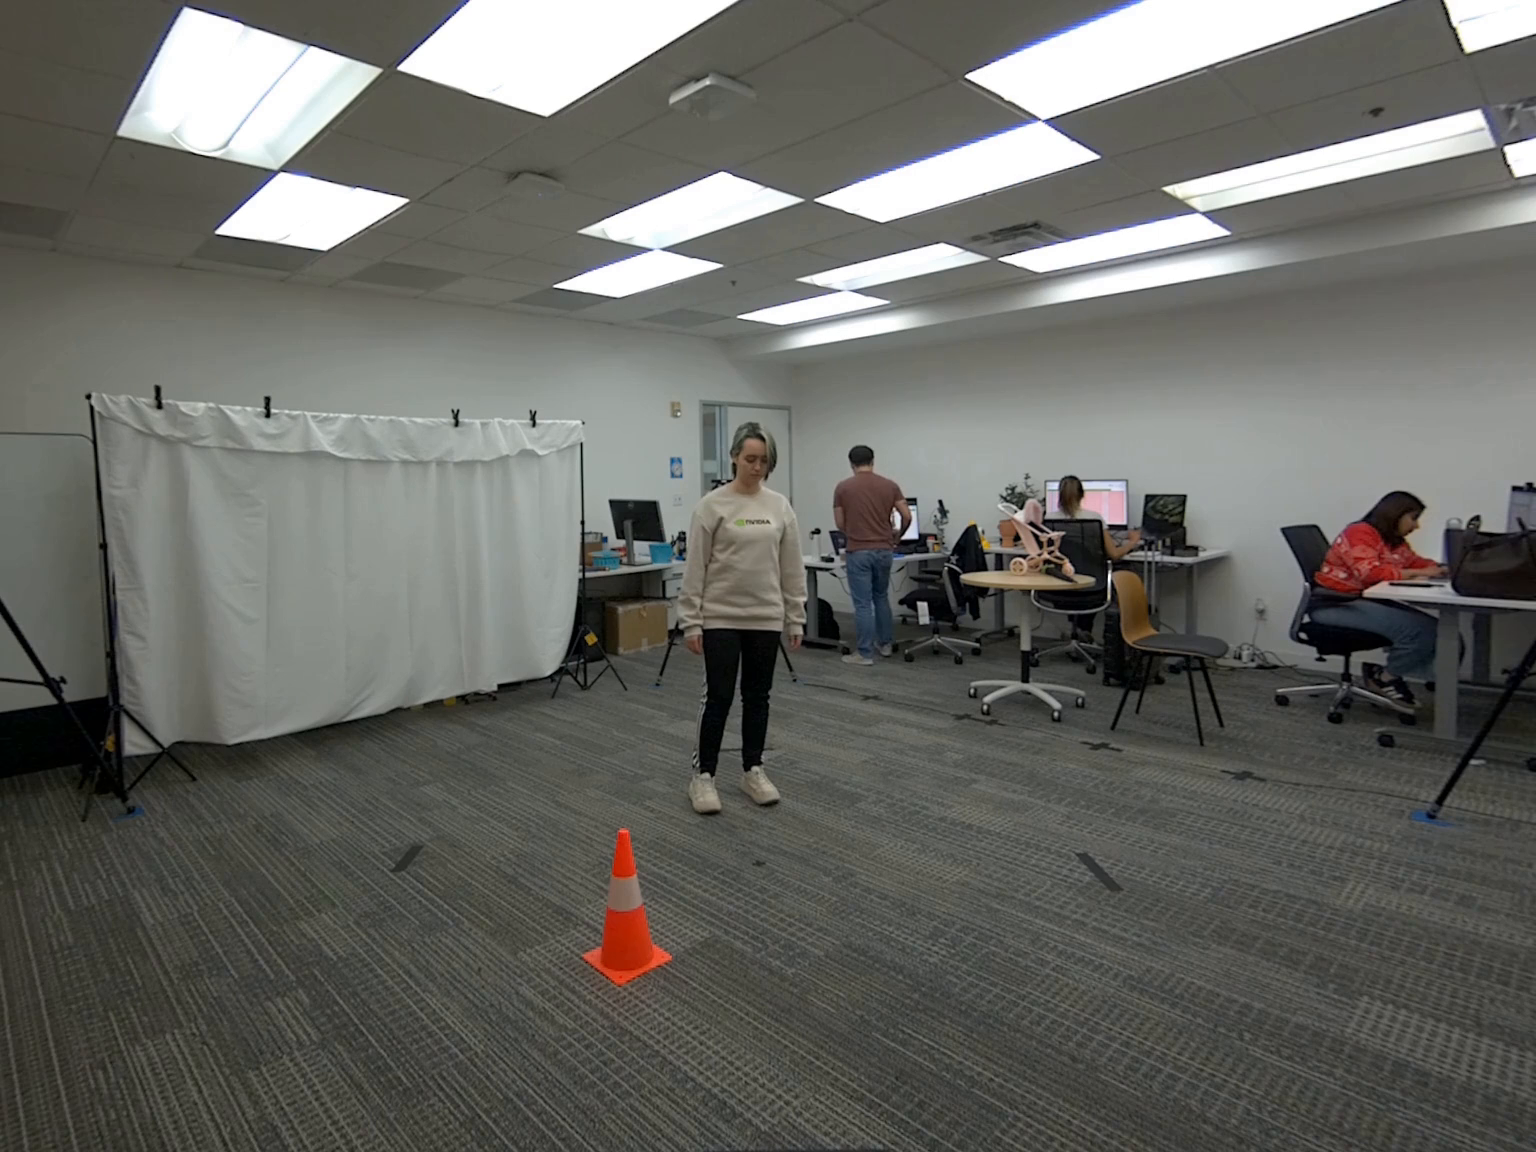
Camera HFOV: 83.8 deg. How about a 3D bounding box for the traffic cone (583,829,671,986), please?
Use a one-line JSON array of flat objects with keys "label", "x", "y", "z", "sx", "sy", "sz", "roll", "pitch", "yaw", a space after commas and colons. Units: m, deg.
[{"label": "traffic cone", "x": -0.419, "y": 0.939, "z": 2.507, "sx": 0.198, "sy": 0.382, "sz": 0.211, "roll": -5, "pitch": 5, "yaw": -42}]
